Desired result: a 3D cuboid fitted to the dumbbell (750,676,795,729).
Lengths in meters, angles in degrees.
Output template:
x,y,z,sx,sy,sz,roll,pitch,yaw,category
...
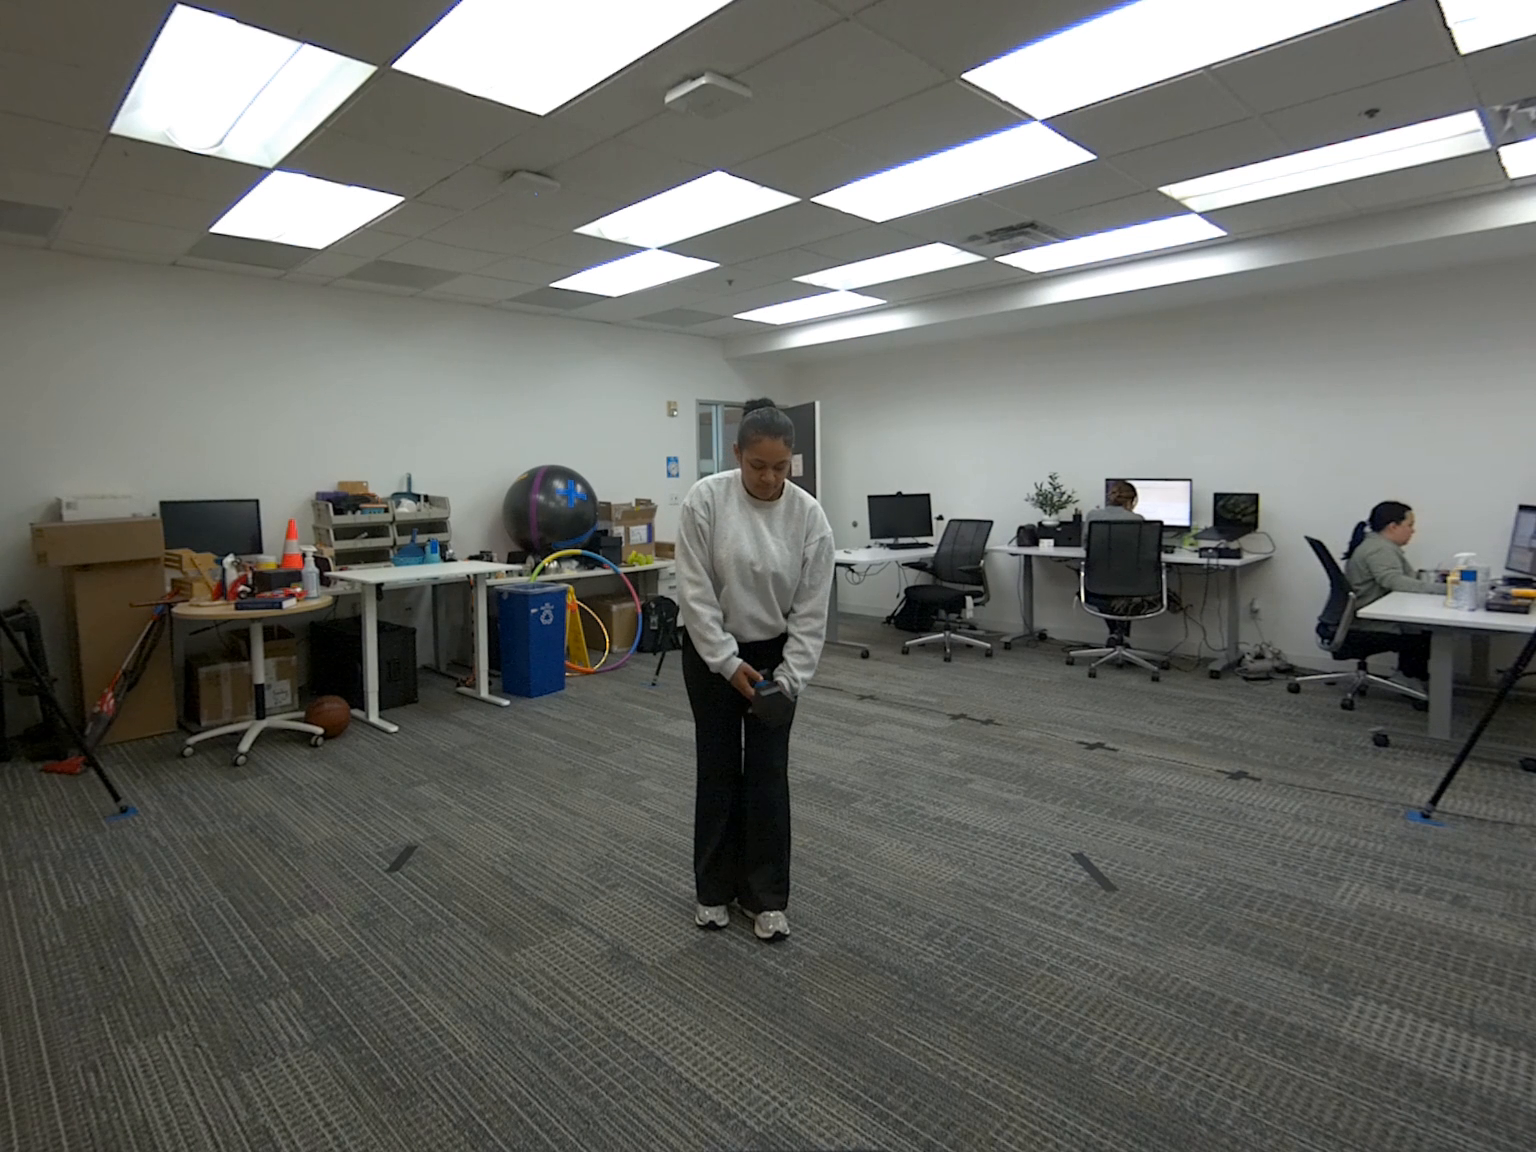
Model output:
x,y,z,sx,sy,sz,roll,pitch,yaw,category
0.011,0.361,2.502,0.123,0.108,0.296,-20,6,-4,dumbbell
